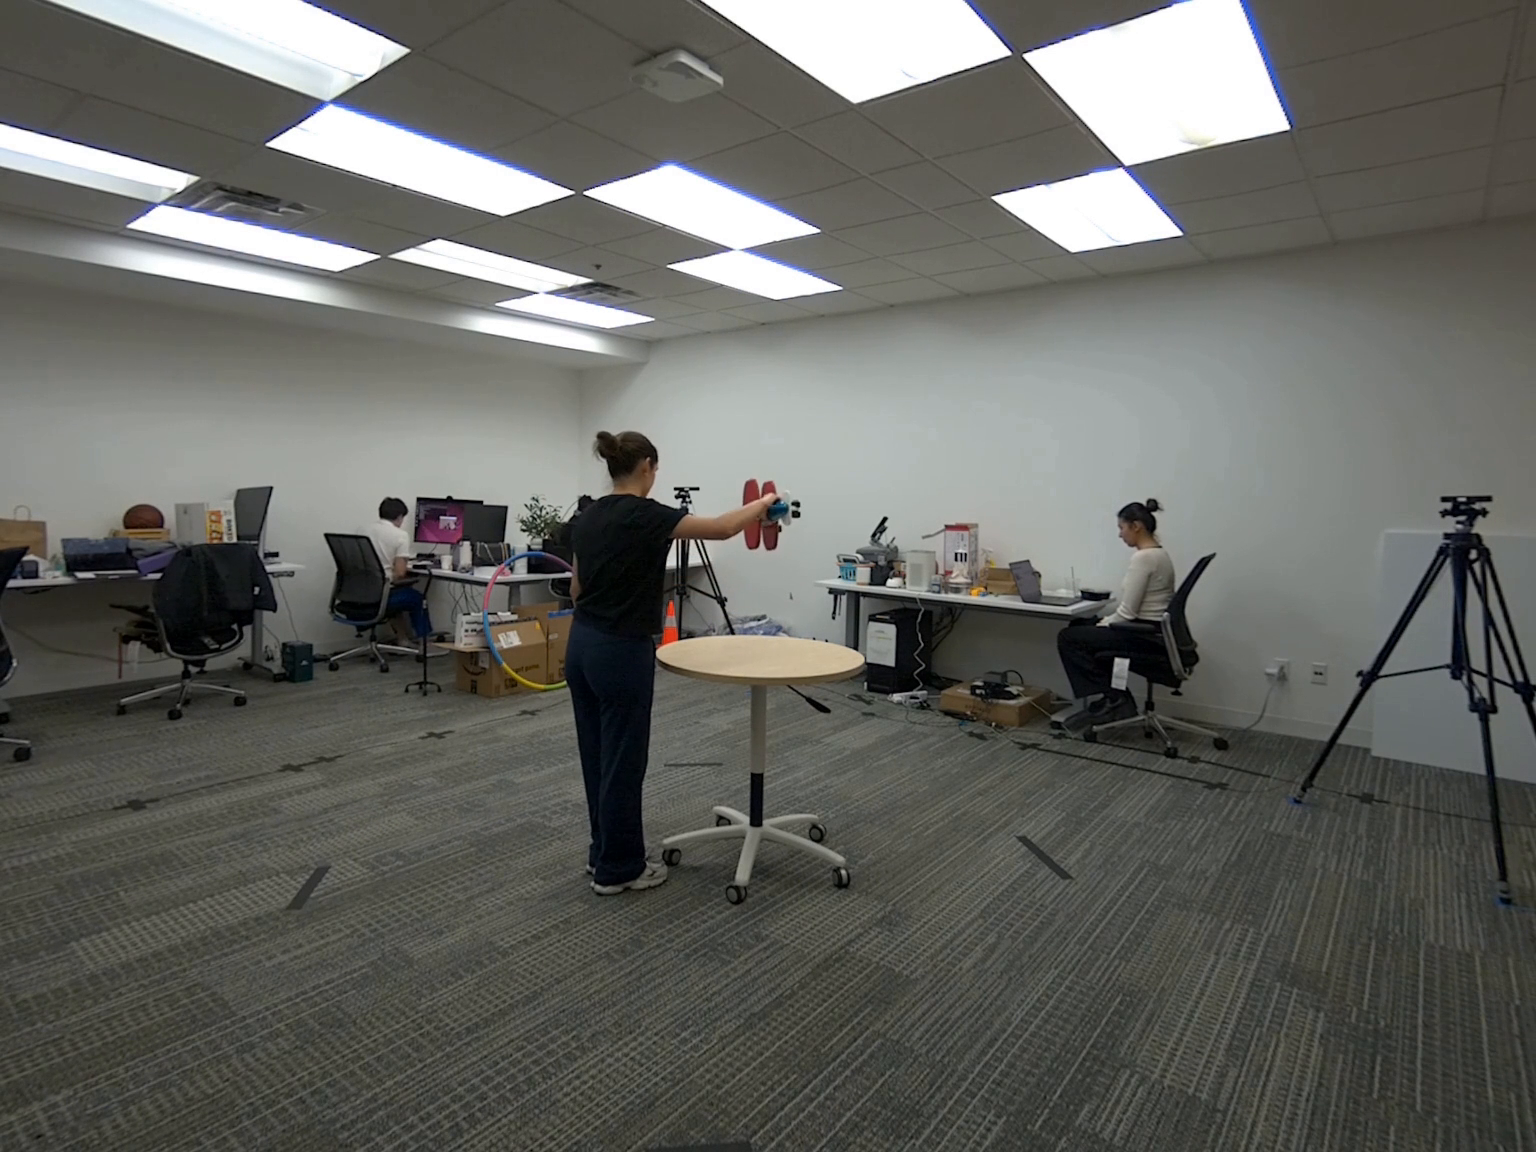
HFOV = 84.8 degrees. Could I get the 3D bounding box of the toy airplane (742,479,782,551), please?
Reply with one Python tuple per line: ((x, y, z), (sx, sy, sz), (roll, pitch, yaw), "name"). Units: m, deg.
((0.012, -0.240, 3.042), (0.153, 0.259, 0.256), (1, -35, -21), "toy airplane")
